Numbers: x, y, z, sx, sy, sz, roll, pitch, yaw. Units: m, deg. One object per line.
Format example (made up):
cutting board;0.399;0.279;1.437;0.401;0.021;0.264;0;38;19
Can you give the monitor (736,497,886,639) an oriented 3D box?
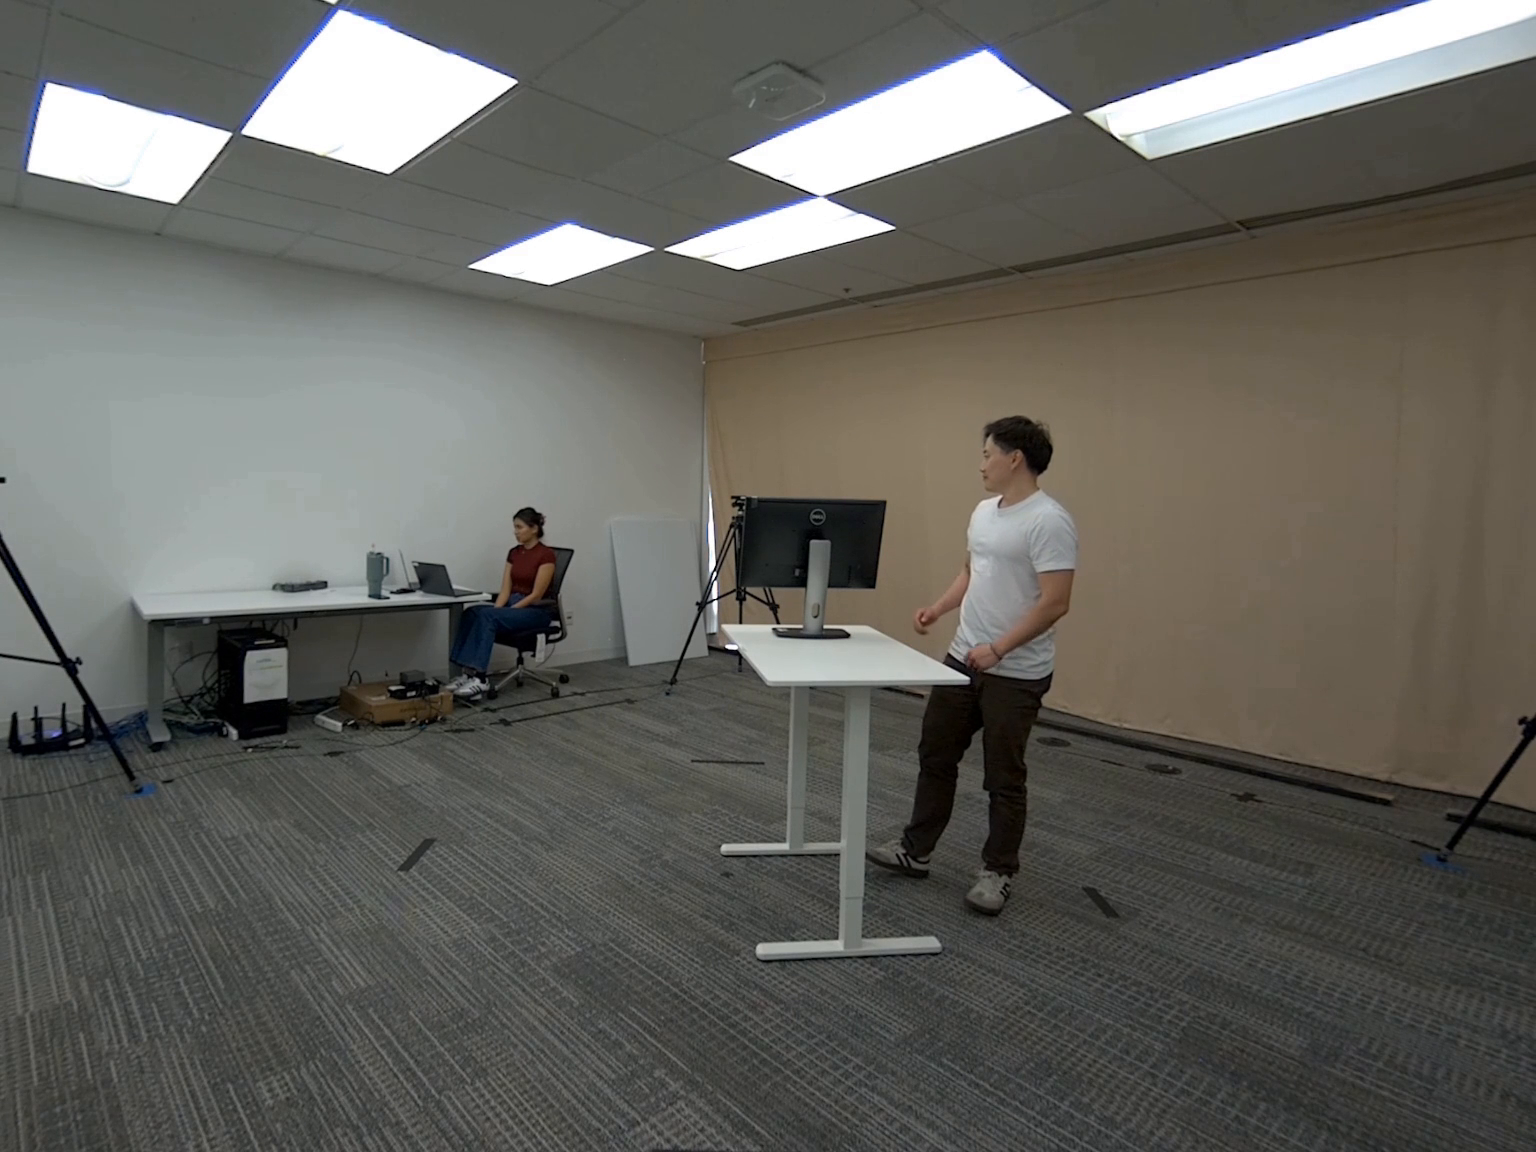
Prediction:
monitor;0.169;-0.029;3.121;0.534;0.521;0.189;1;4;-11
